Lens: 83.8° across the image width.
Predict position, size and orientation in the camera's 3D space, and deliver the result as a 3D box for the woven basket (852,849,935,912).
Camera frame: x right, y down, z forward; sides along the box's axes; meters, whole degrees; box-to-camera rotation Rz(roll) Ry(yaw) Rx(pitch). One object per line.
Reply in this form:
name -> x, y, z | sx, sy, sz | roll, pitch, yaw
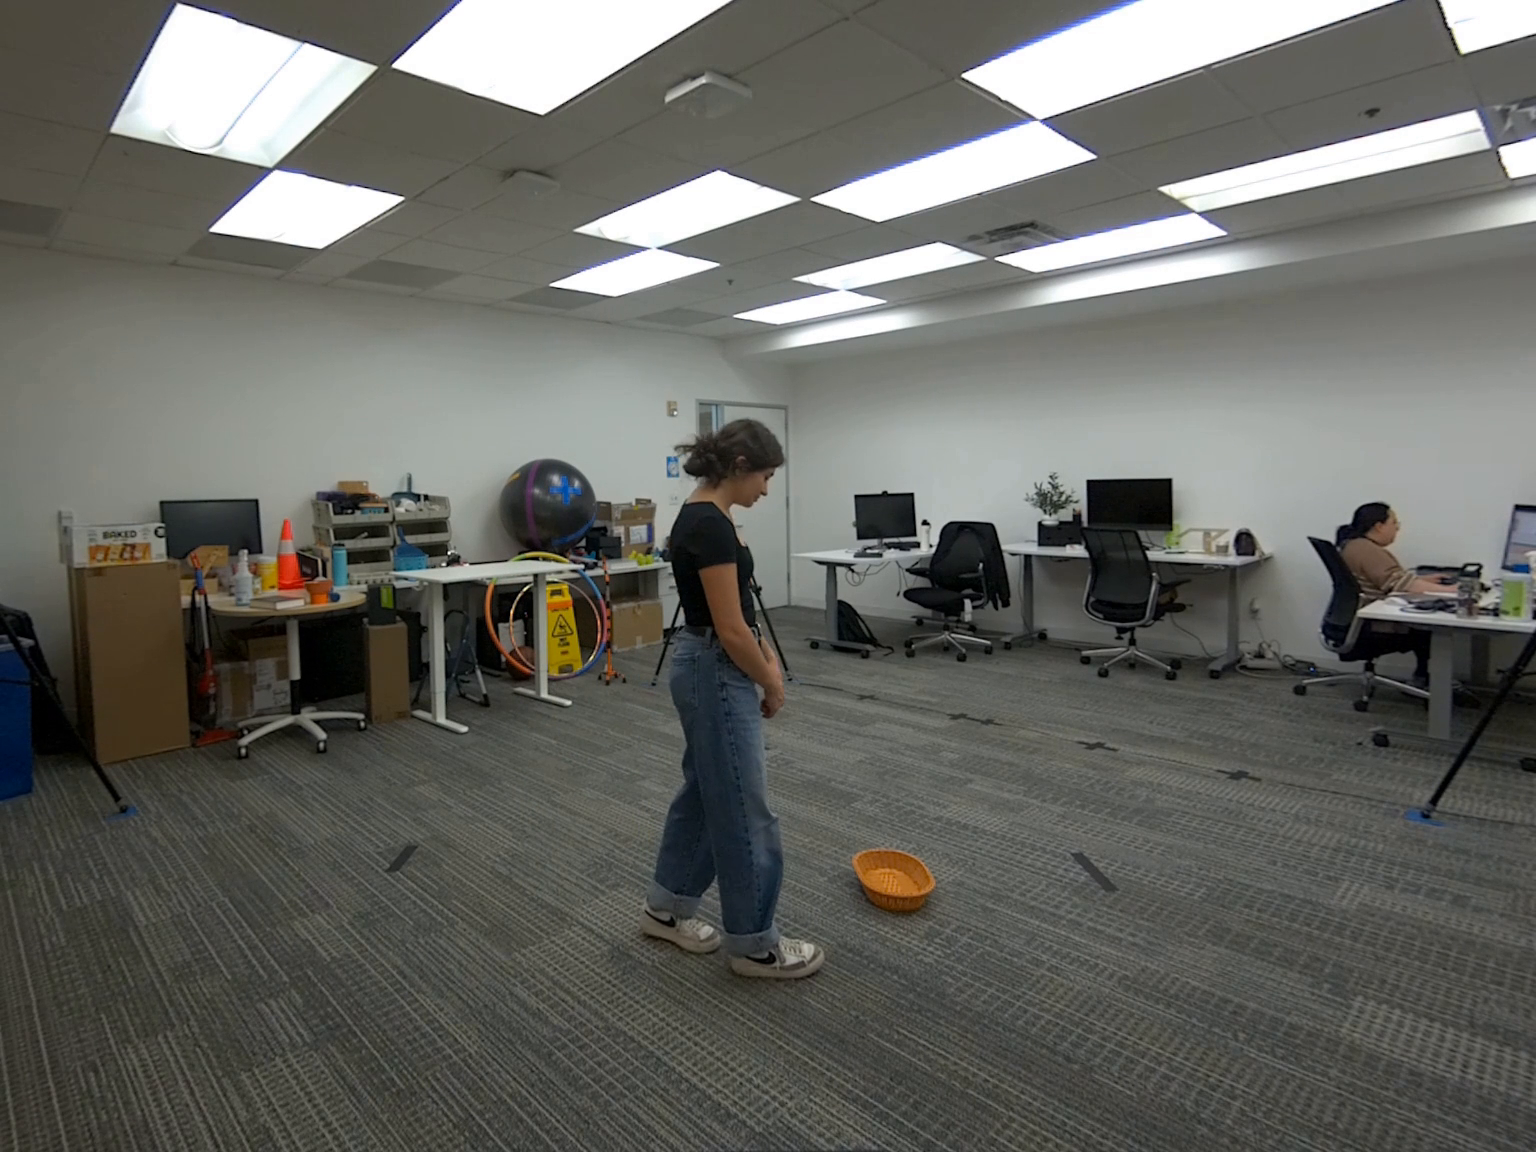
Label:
woven basket -> 0.423, 1.026, 2.877 | 0.251, 0.073, 0.353 | 0, 6, -4
